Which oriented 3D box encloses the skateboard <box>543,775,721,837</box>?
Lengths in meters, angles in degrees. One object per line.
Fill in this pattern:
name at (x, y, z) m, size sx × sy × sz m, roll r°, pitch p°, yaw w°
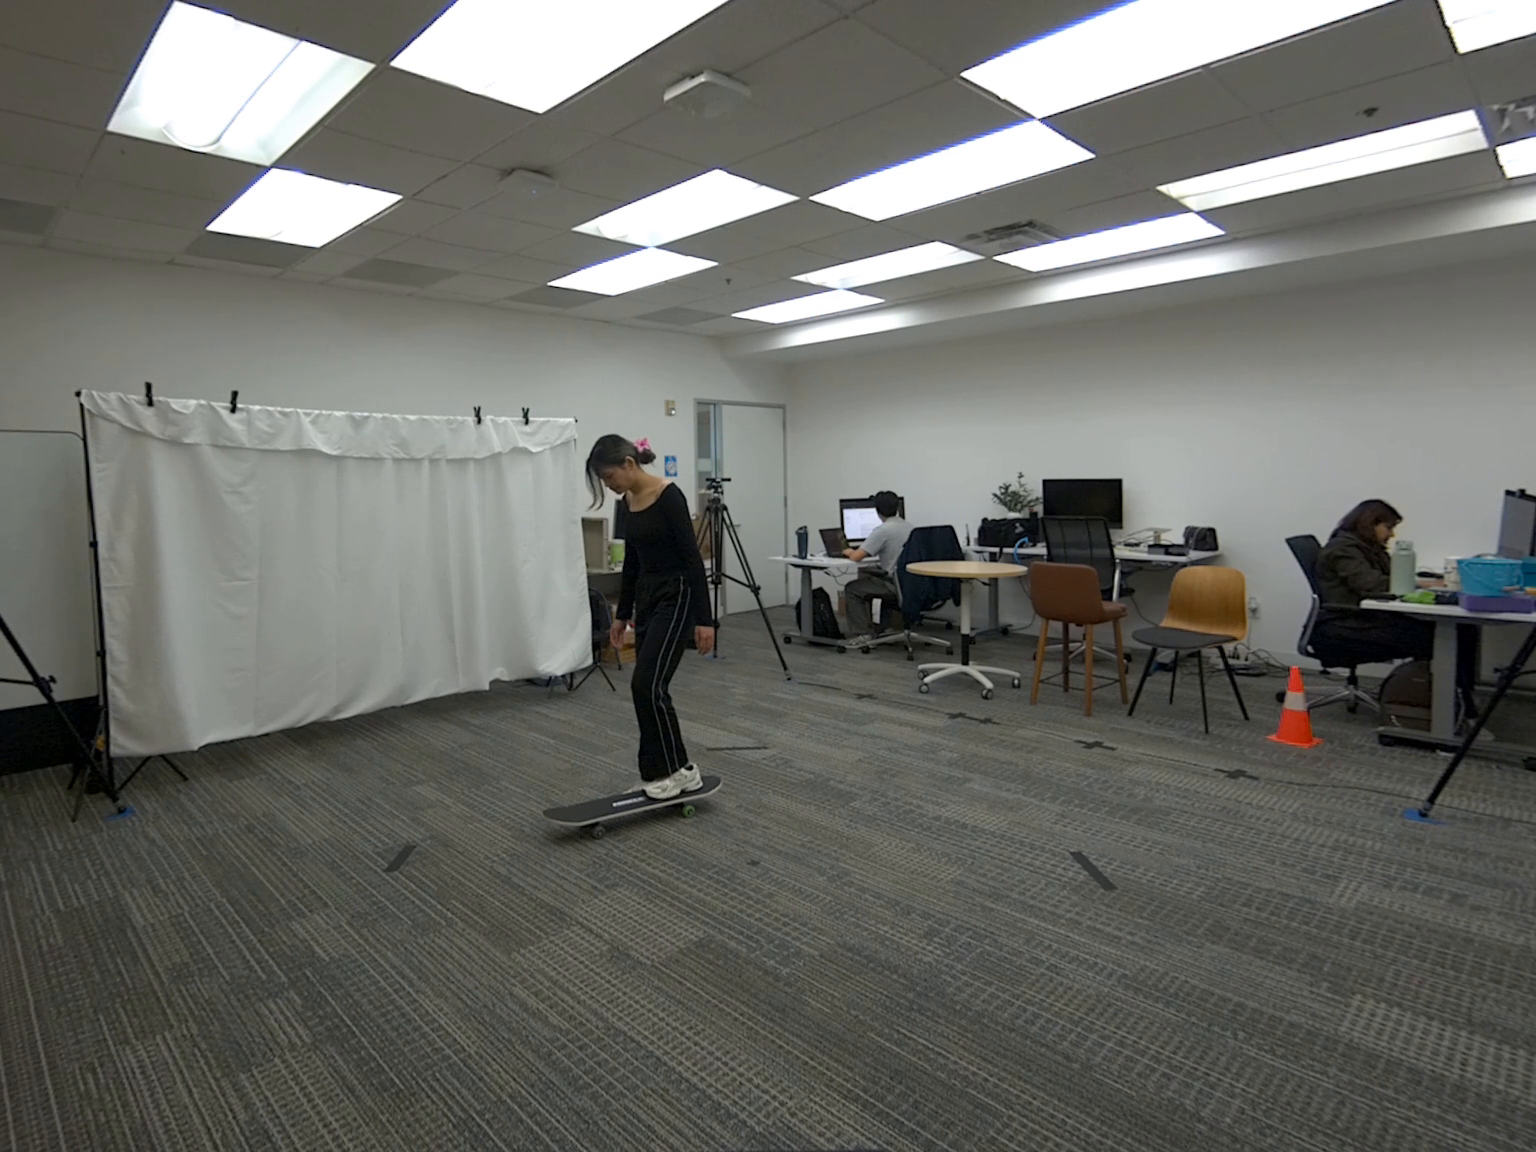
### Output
skateboard at (-0.542, 0.951, 3.506) m, size 0.767 × 0.110 × 0.199 m, roll -4°, pitch 5°, yaw -30°
